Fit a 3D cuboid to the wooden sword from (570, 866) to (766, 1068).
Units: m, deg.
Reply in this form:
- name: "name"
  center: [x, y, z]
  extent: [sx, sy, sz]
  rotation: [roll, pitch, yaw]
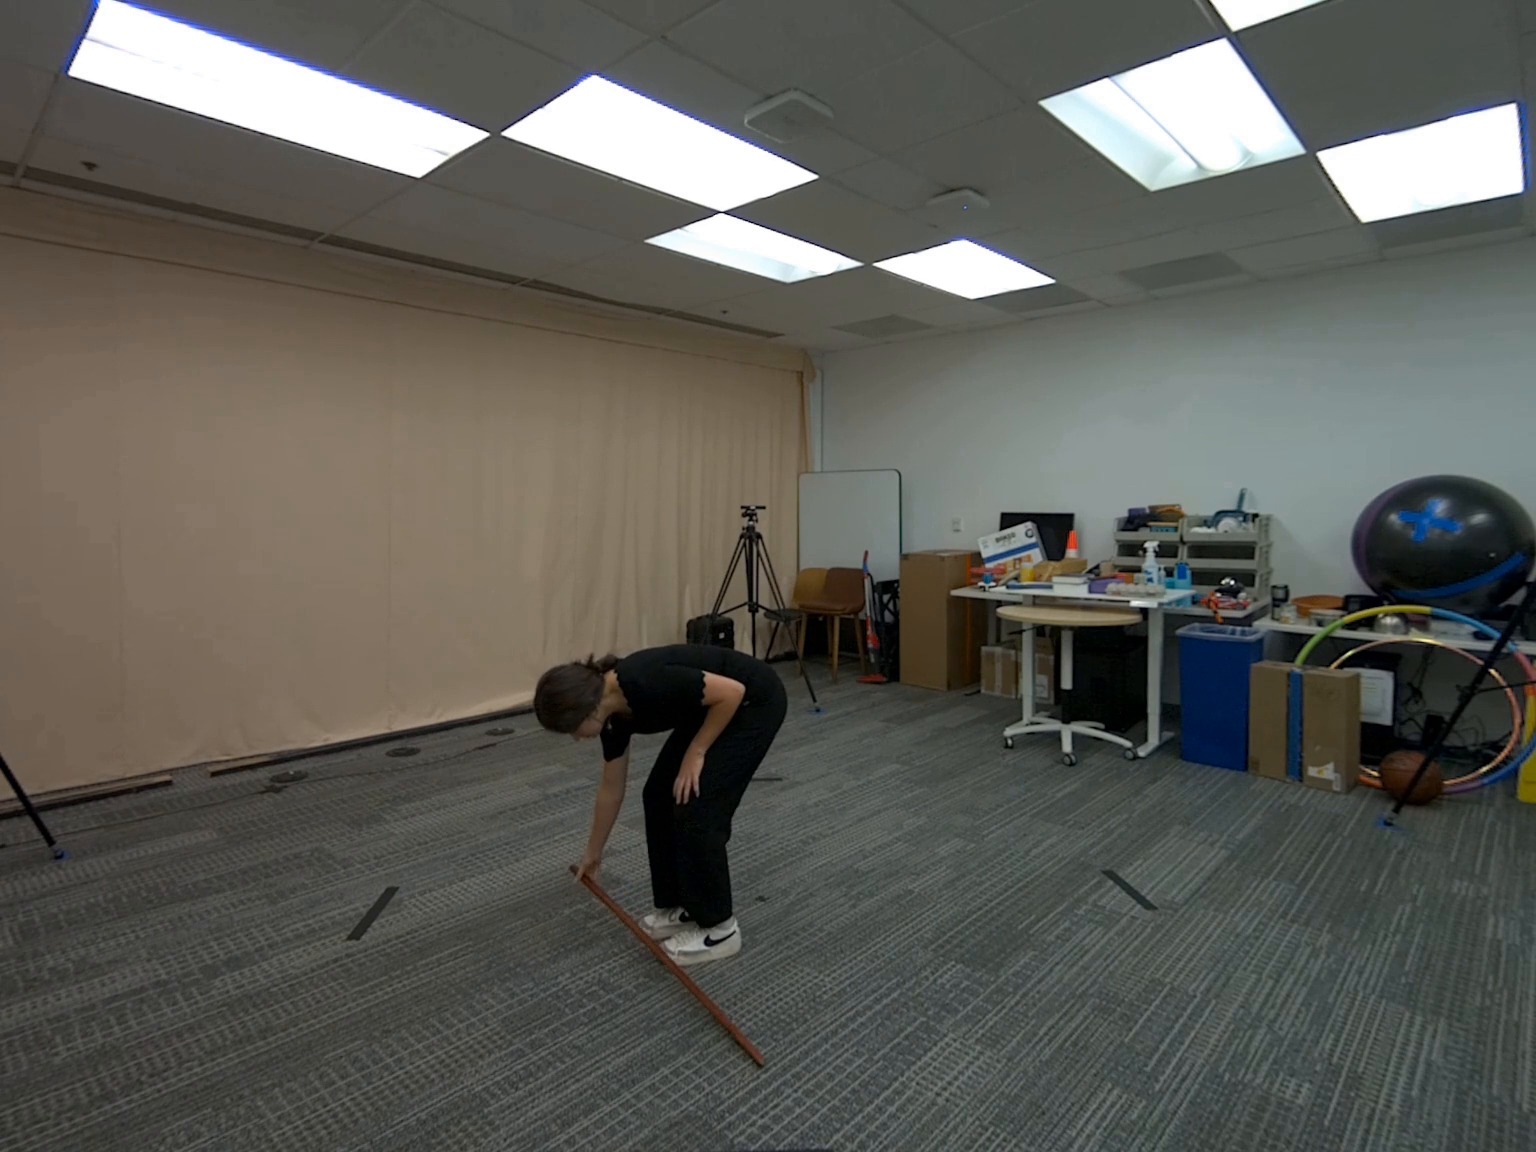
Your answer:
- name: "wooden sword"
  center: [-0.317, 1.114, 2.495]
  extent: [0.024, 0.050, 1.061]
  rotation: [-38, 32, -25]
